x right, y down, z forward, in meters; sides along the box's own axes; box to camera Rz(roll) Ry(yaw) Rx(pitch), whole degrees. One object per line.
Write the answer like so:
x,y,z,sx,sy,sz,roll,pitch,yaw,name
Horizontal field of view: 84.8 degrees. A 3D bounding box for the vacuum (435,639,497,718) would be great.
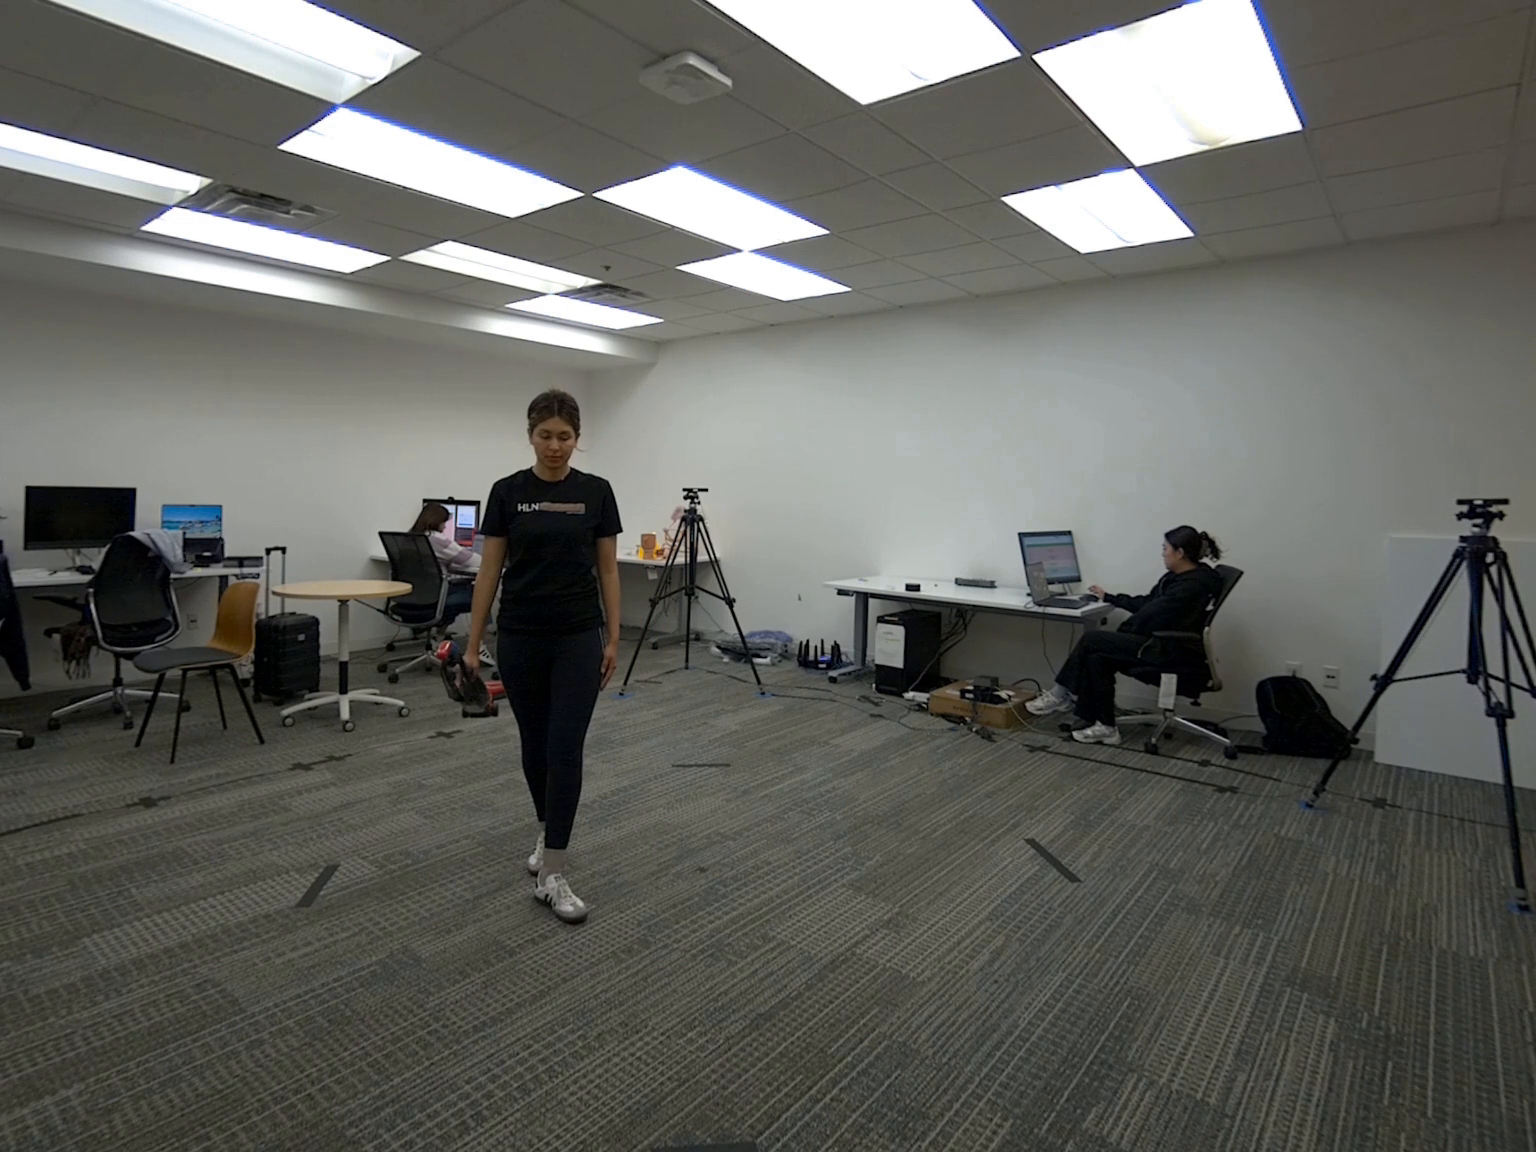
-1.035,0.359,2.820,0.250,0.146,1.043,-1,-15,-12,vacuum
